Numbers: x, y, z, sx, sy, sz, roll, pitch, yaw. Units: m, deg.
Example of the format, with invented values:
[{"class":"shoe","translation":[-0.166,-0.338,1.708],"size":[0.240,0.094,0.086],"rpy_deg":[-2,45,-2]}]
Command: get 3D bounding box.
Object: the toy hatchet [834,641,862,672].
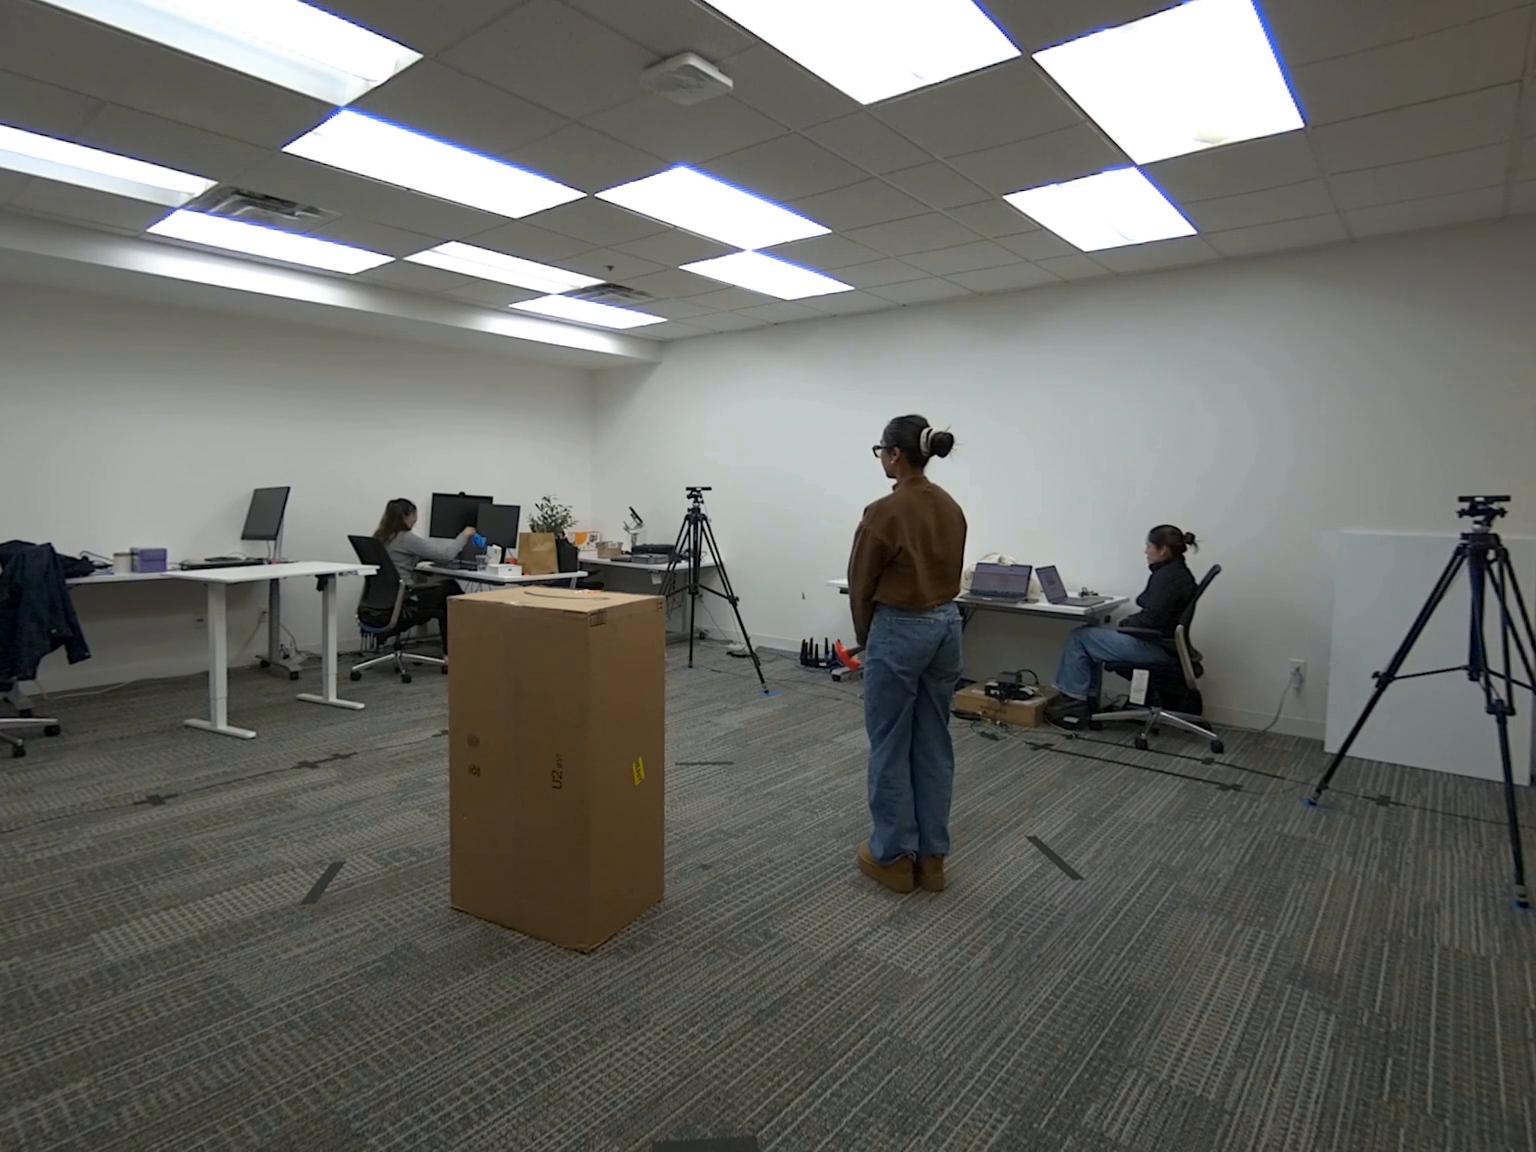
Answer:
[{"class":"toy hatchet","translation":[0.371,0.312,3.308],"size":[0.278,0.129,0.029],"rpy_deg":[-3,16,43]}]
